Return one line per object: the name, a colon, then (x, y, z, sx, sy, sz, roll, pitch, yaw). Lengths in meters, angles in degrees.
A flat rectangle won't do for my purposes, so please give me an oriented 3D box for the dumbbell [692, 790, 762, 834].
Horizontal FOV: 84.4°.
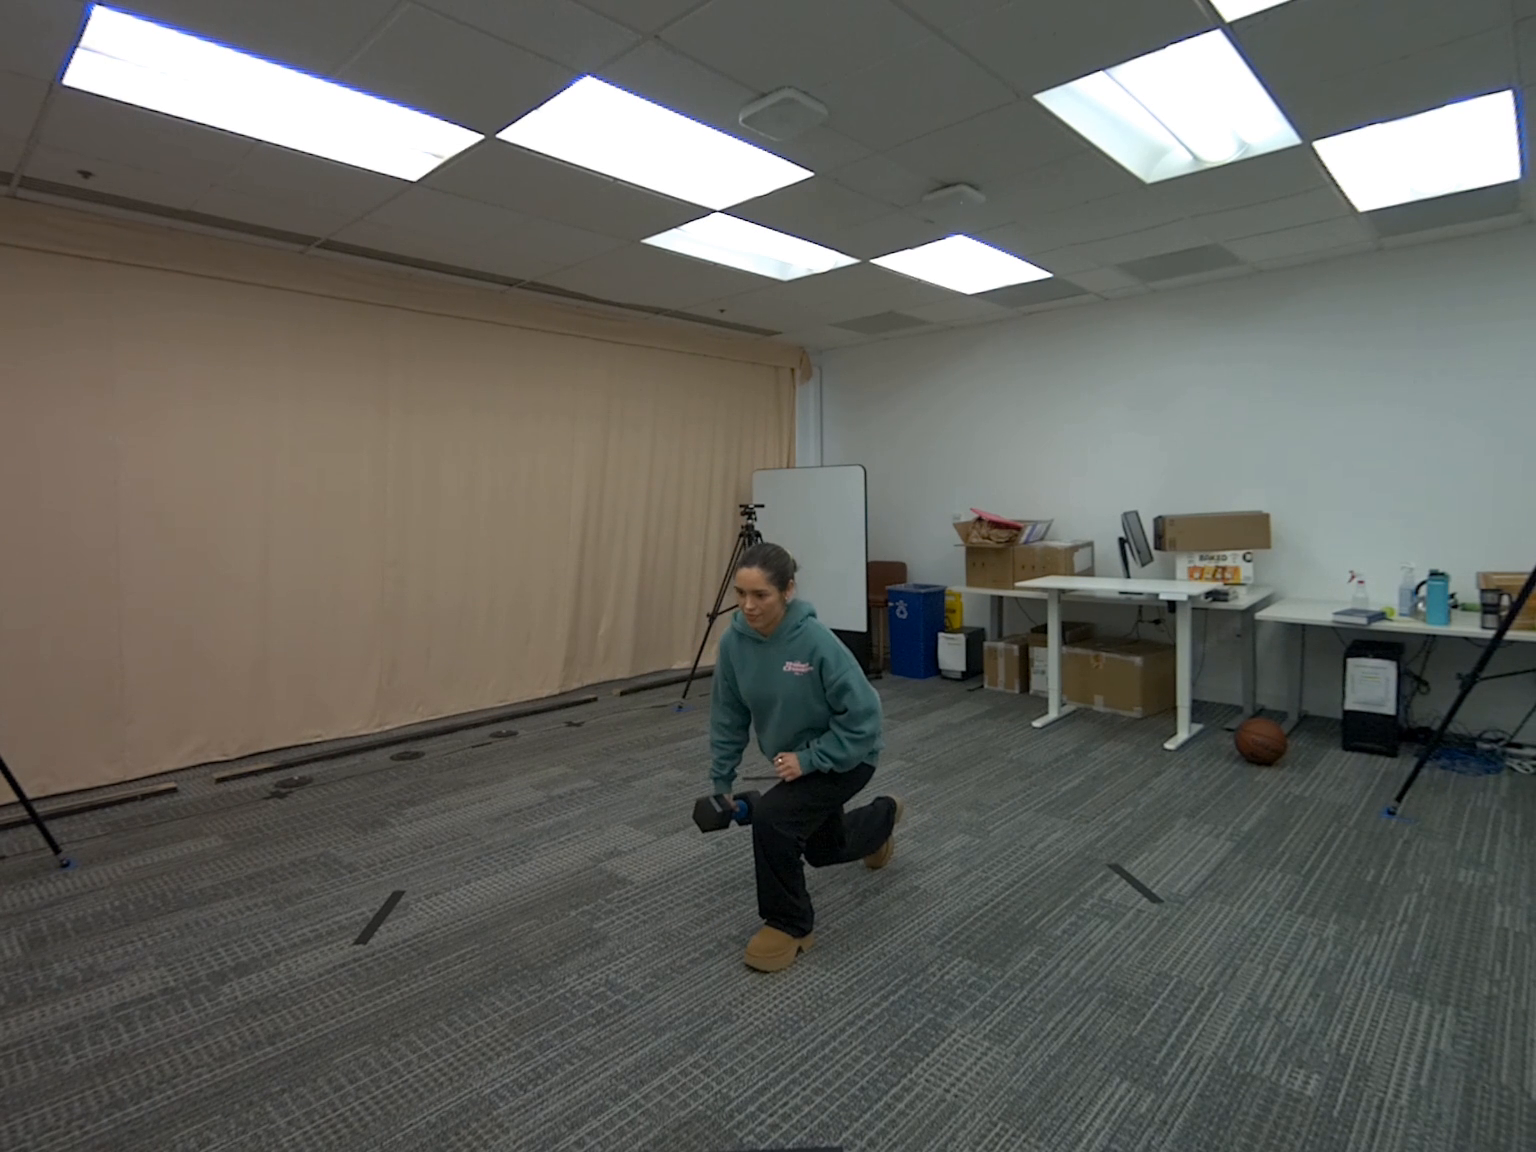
dumbbell: (-0.119, 0.774, 2.764, 0.127, 0.109, 0.283, 49, 19, 30)
